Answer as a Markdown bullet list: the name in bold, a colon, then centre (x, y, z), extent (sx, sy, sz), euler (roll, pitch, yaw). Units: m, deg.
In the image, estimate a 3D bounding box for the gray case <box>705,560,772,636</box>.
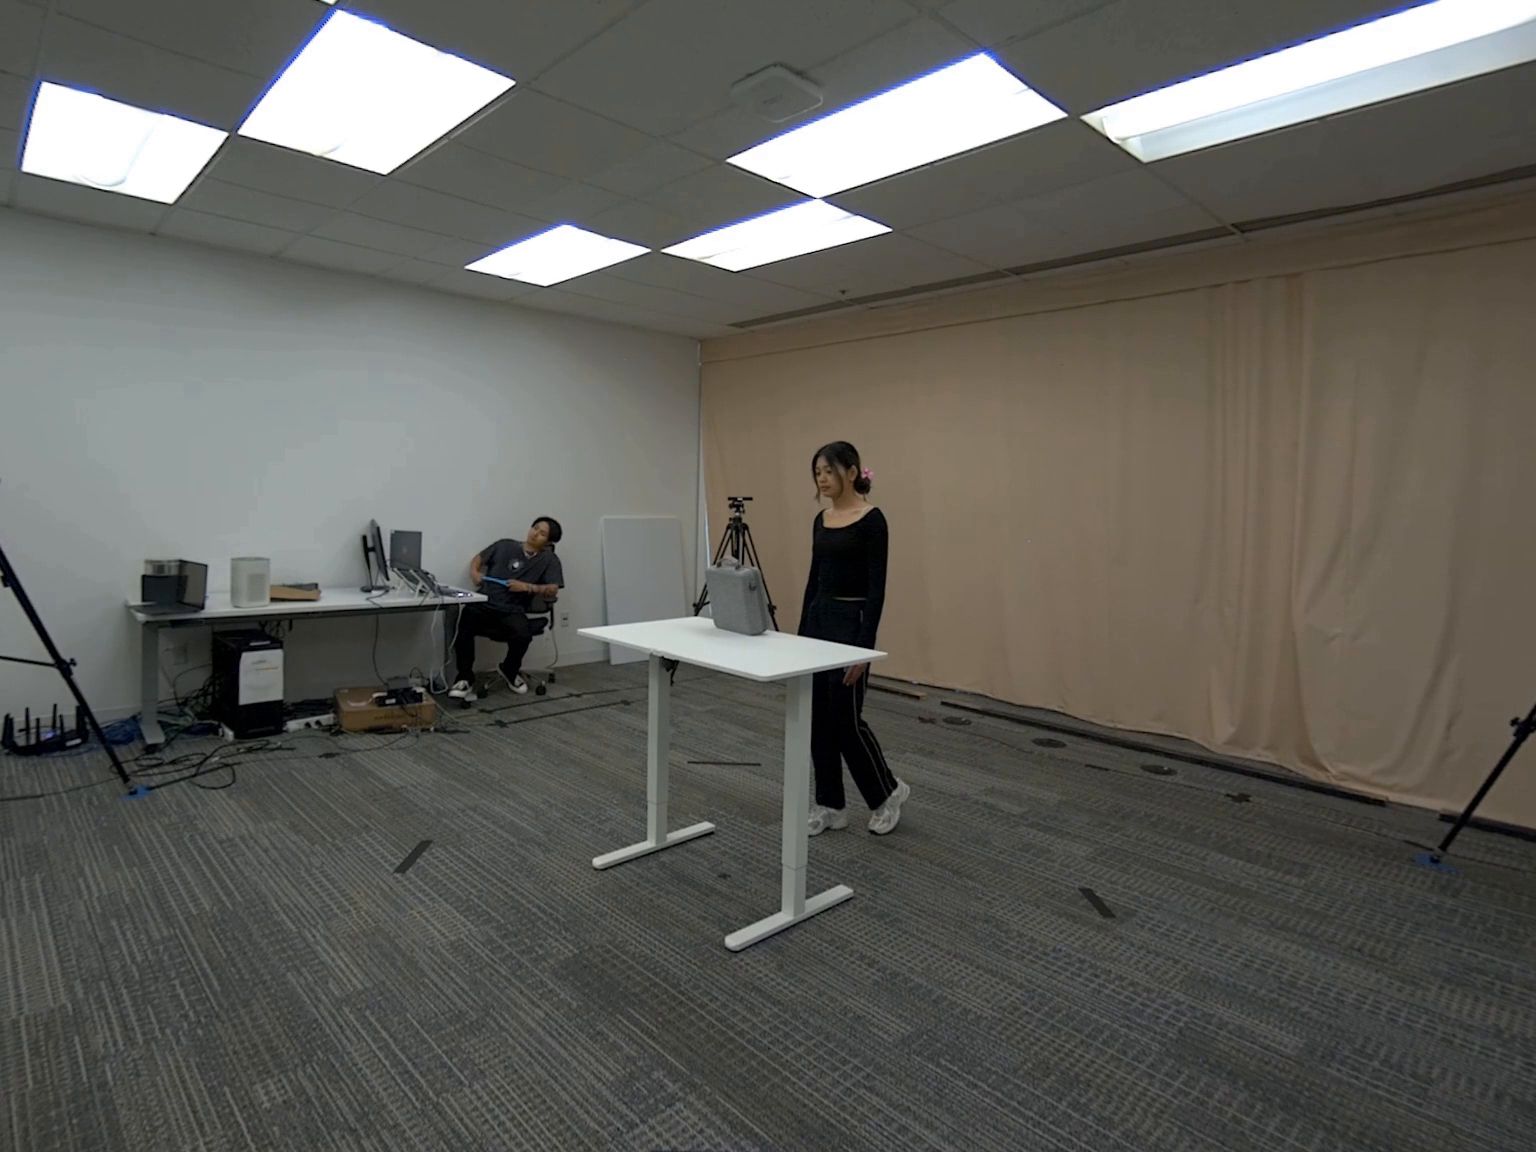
- **gray case**: centre (-0.126, 0.084, 3.205), extent (0.103, 0.258, 0.263), euler (-17, 14, -35)
